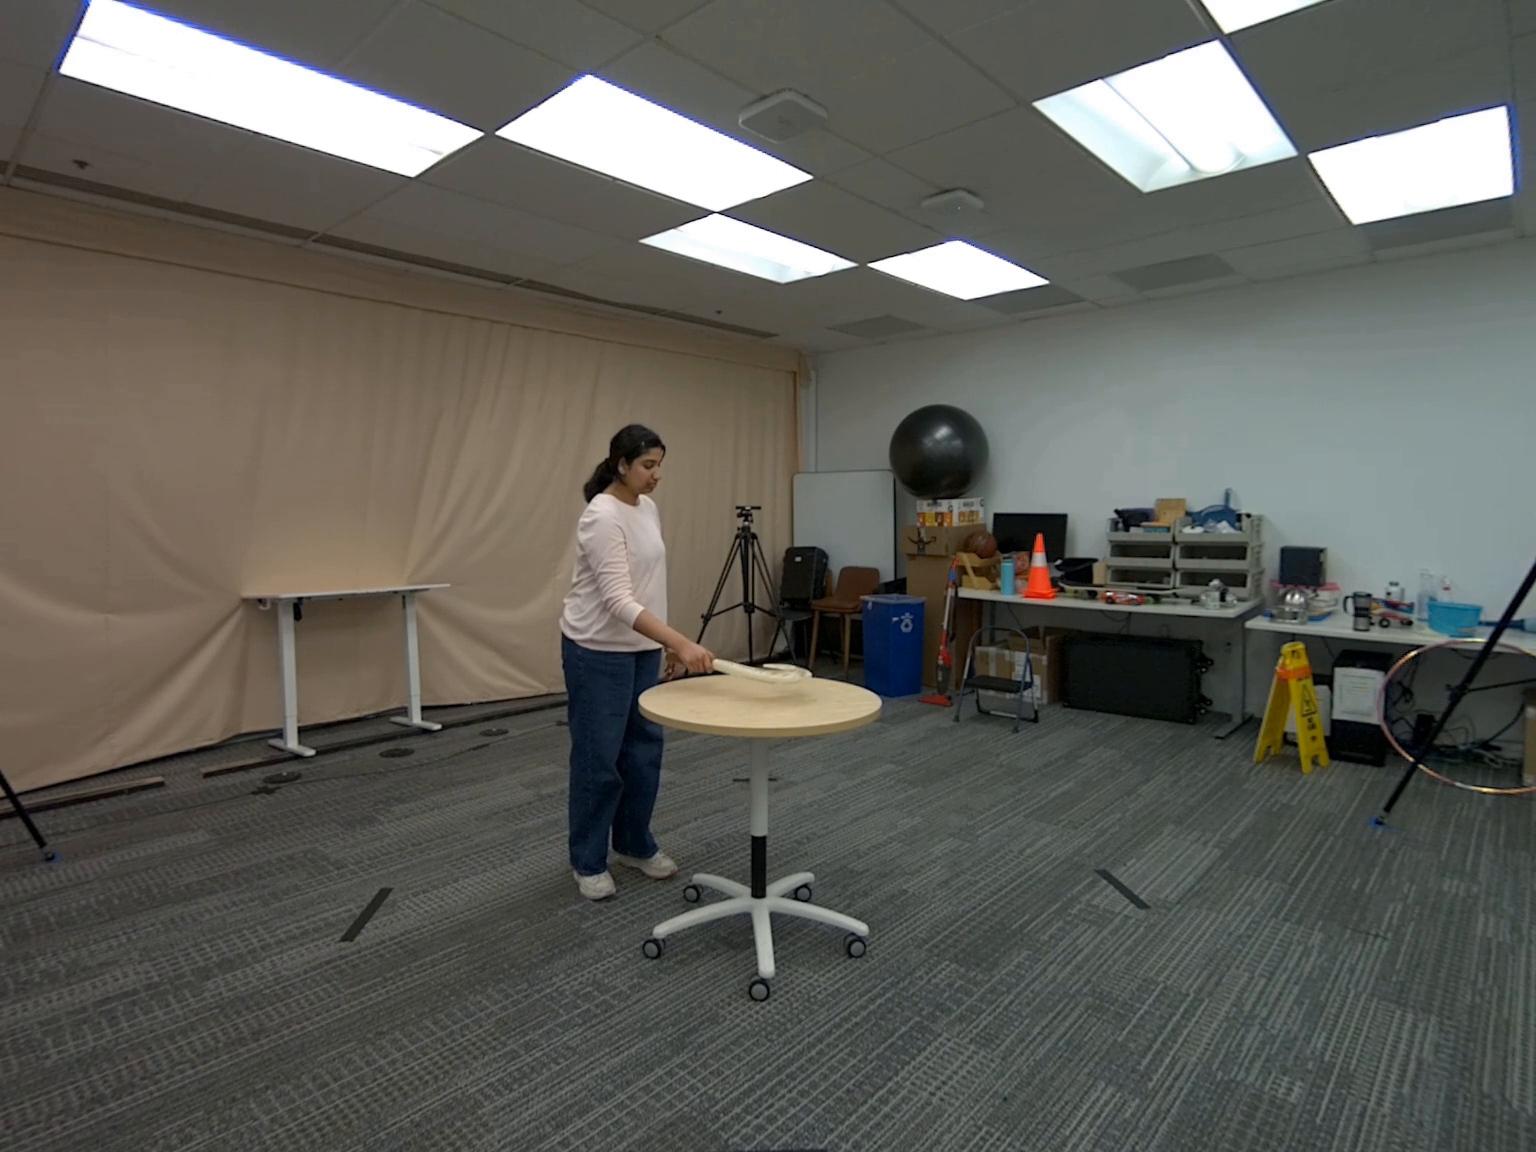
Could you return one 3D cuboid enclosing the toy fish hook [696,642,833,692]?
[{"bbox_3d":[-0.072,0.289,2.760,0.523,0.048,0.218,9,3,32],"label":"toy fish hook"}]
